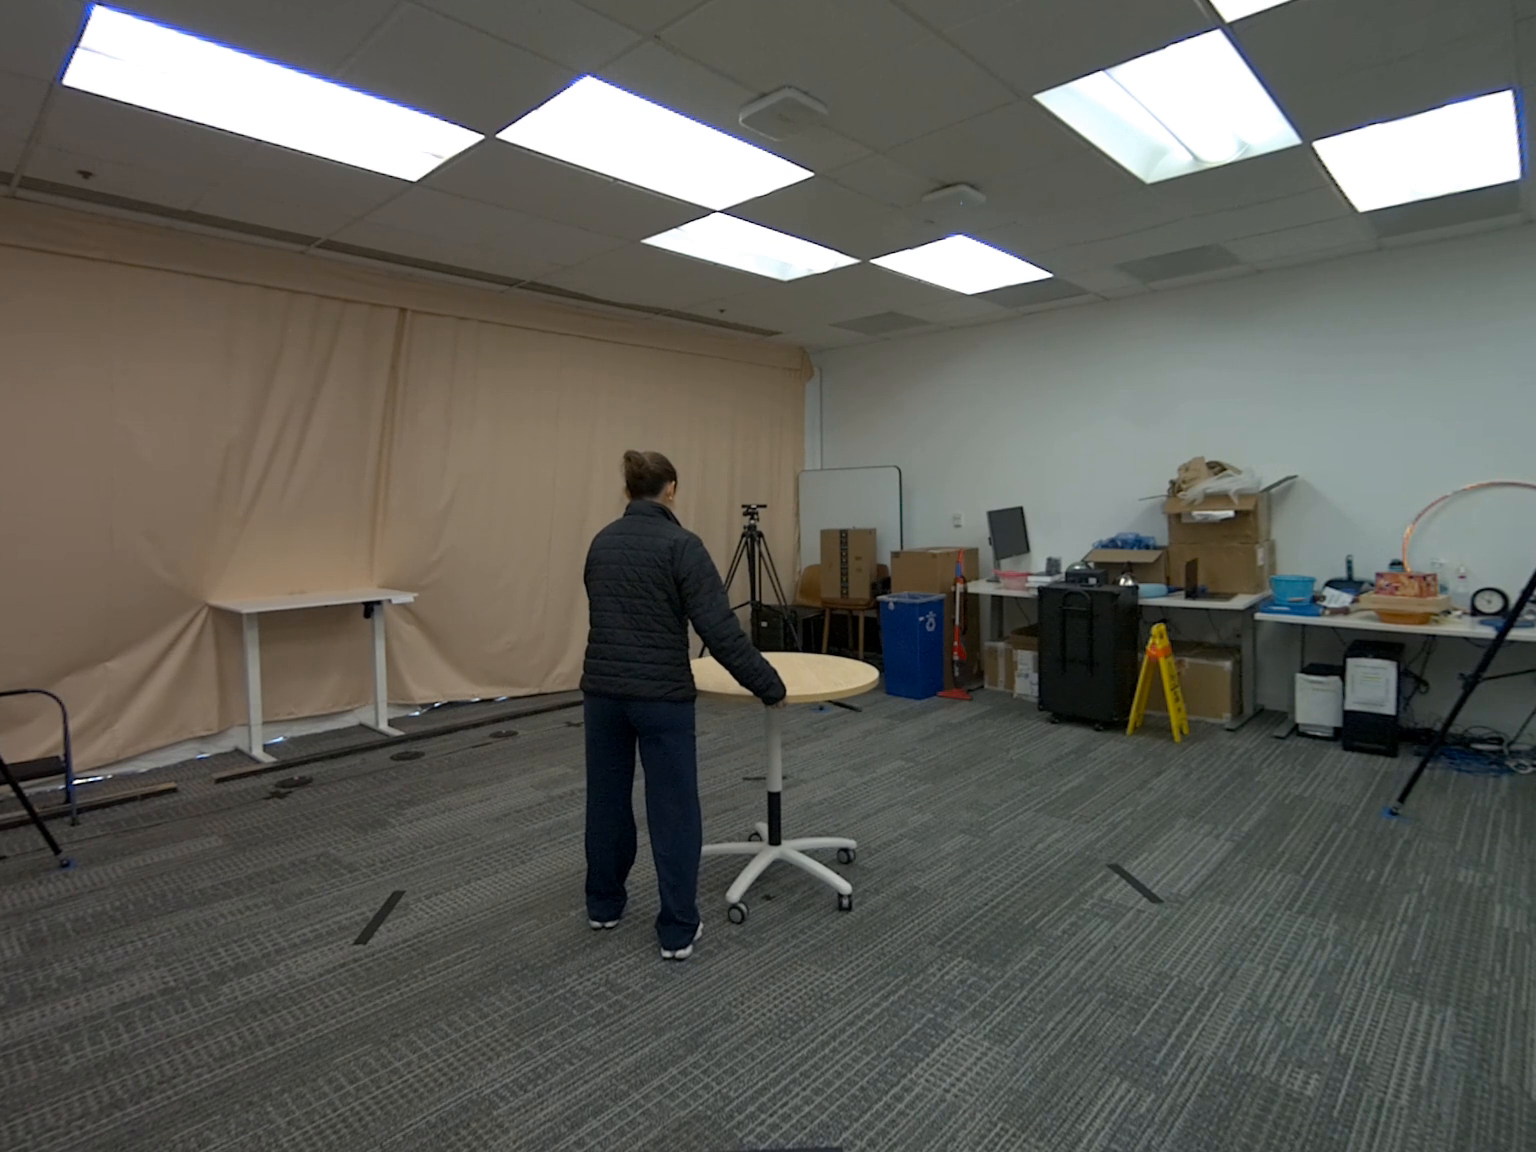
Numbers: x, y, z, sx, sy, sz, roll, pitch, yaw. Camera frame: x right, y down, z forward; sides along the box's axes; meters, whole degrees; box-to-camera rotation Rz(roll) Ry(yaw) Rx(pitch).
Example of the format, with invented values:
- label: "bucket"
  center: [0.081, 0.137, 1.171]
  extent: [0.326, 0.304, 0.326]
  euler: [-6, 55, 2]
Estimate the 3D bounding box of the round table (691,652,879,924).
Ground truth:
- label: "round table"
  center: [0.042, 0.735, 3.076]
  extent: [0.784, 0.785, 0.788]
  euler: [-1, 4, -2]
